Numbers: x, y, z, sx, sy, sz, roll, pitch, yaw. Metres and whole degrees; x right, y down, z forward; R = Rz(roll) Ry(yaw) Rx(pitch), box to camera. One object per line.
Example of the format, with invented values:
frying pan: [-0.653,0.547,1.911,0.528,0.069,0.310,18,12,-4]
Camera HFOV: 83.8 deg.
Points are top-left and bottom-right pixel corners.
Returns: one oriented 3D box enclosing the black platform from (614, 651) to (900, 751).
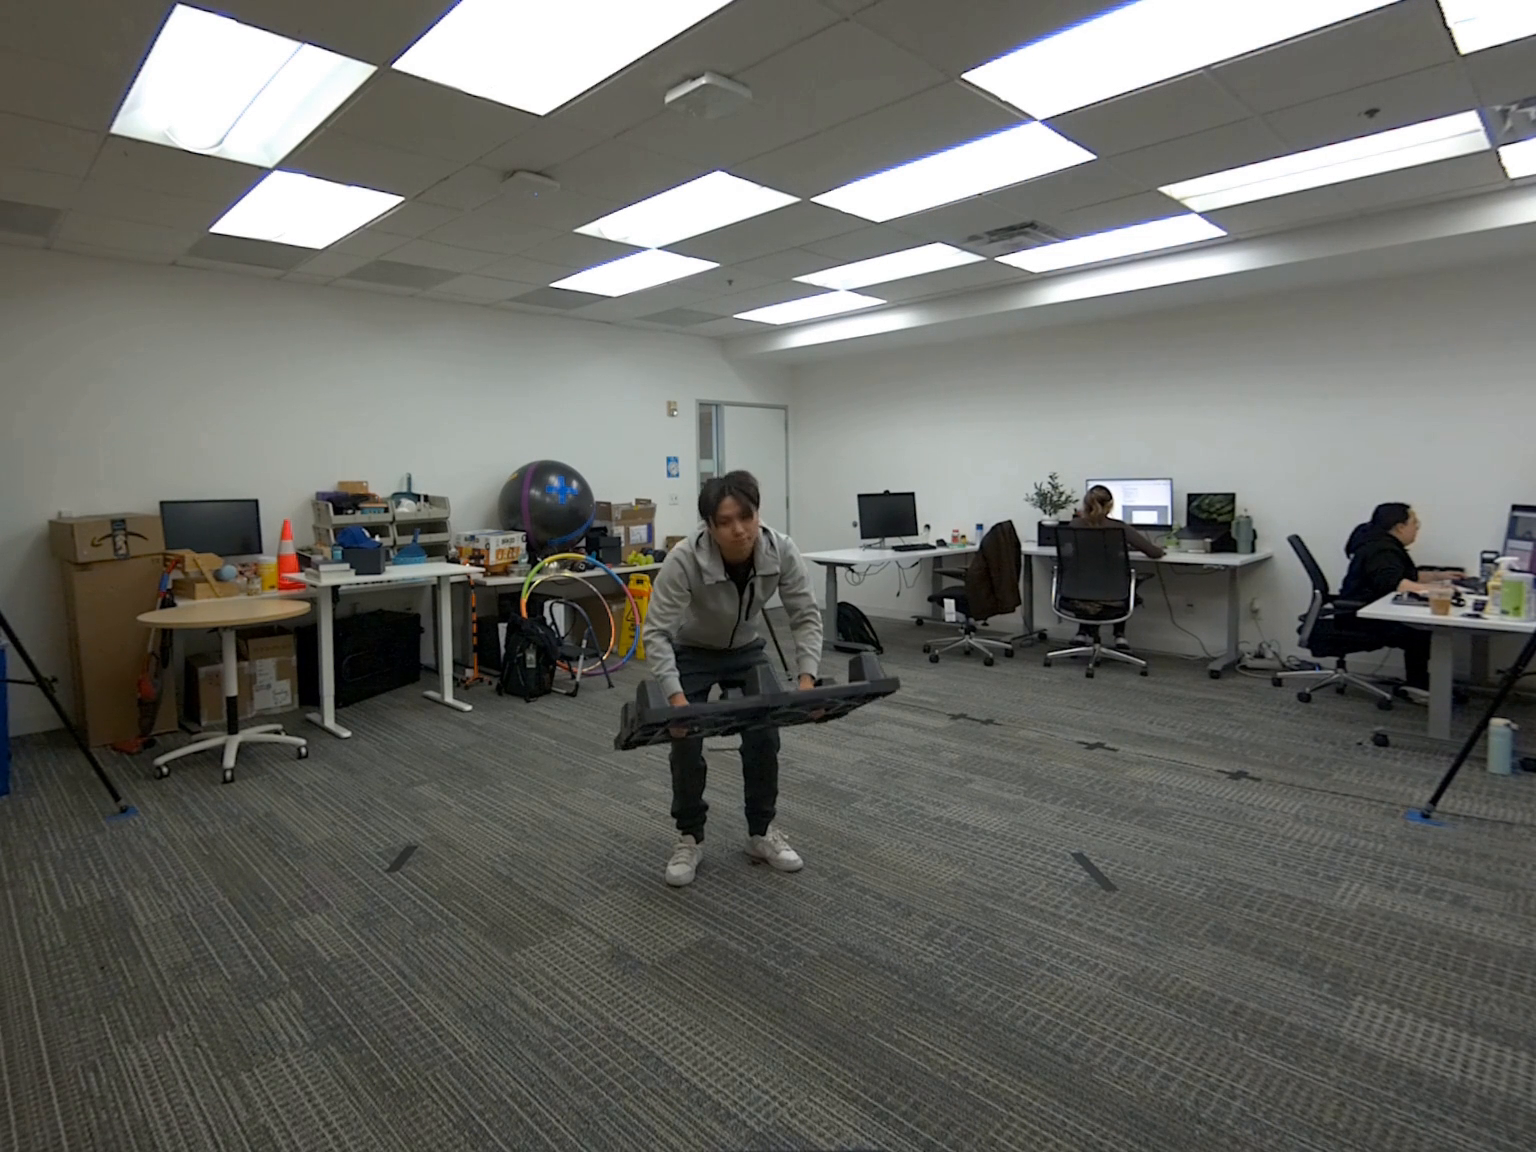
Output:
black platform: [-0.062,0.406,2.728,0.794,0.146,0.603,-5,-17,-18]
